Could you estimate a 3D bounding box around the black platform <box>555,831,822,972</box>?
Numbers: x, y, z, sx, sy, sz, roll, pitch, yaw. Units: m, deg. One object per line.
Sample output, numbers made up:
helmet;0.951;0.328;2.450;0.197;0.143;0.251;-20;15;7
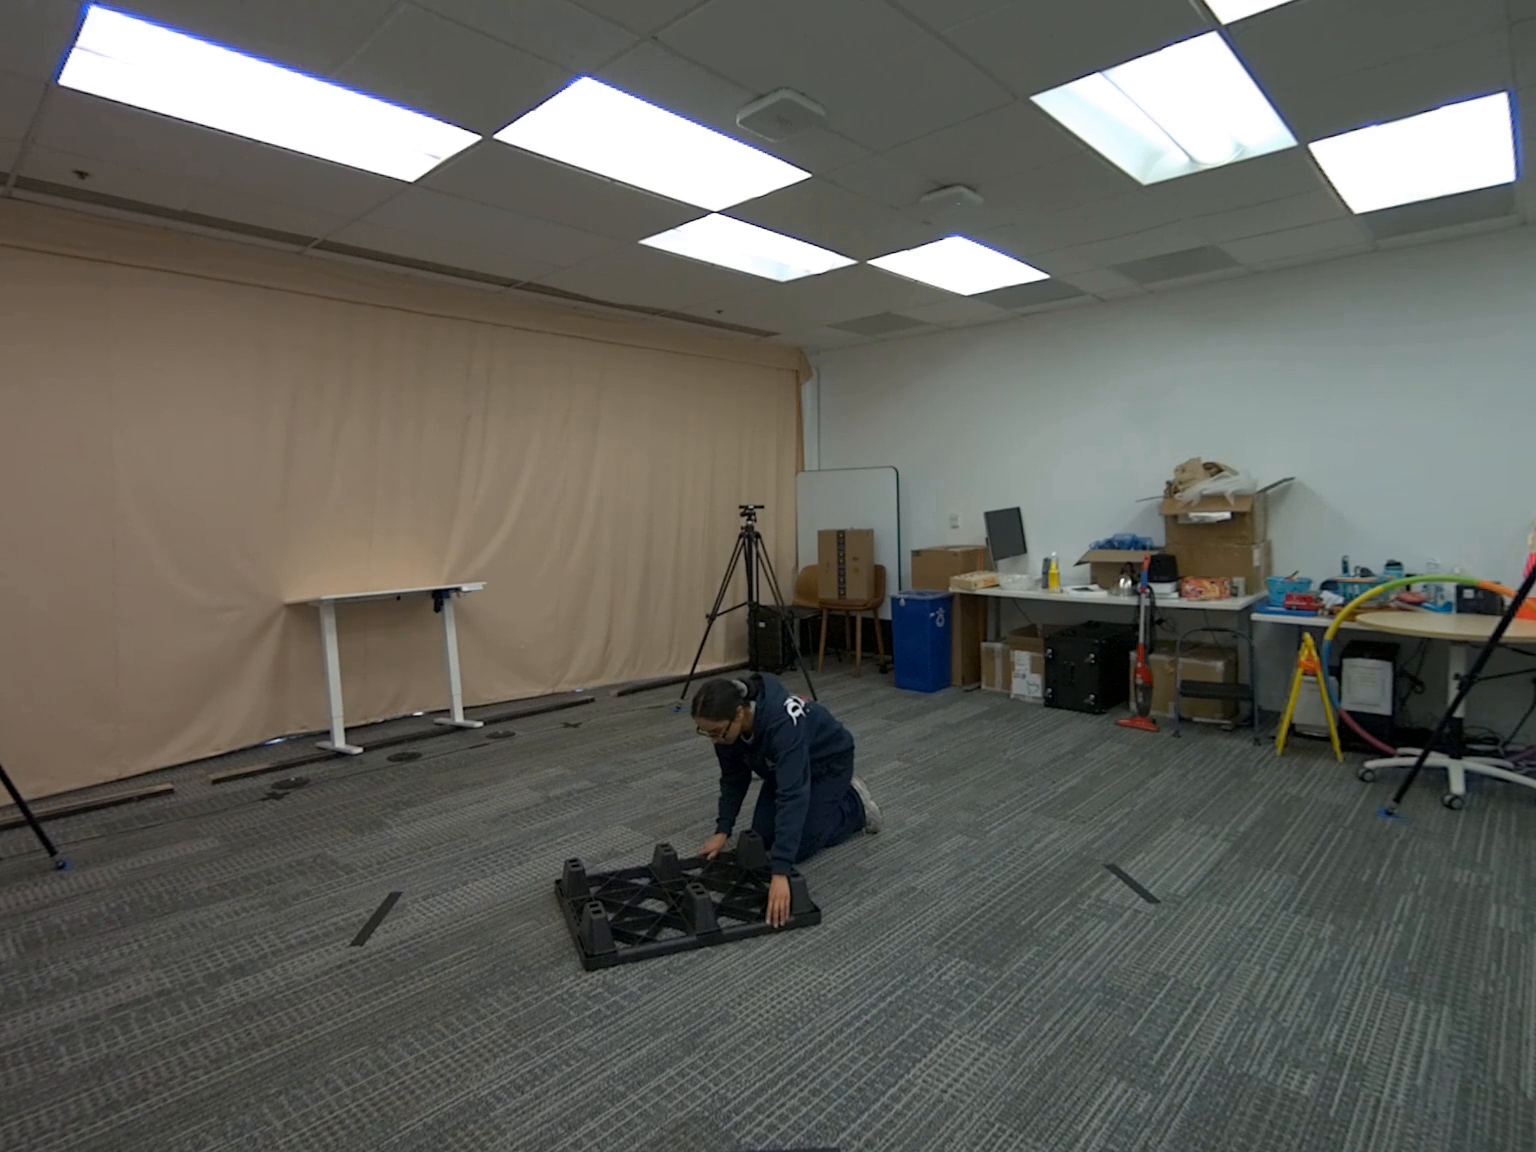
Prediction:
black platform;-0.303;1.083;2.942;0.789;0.143;0.619;-3;5;-22
